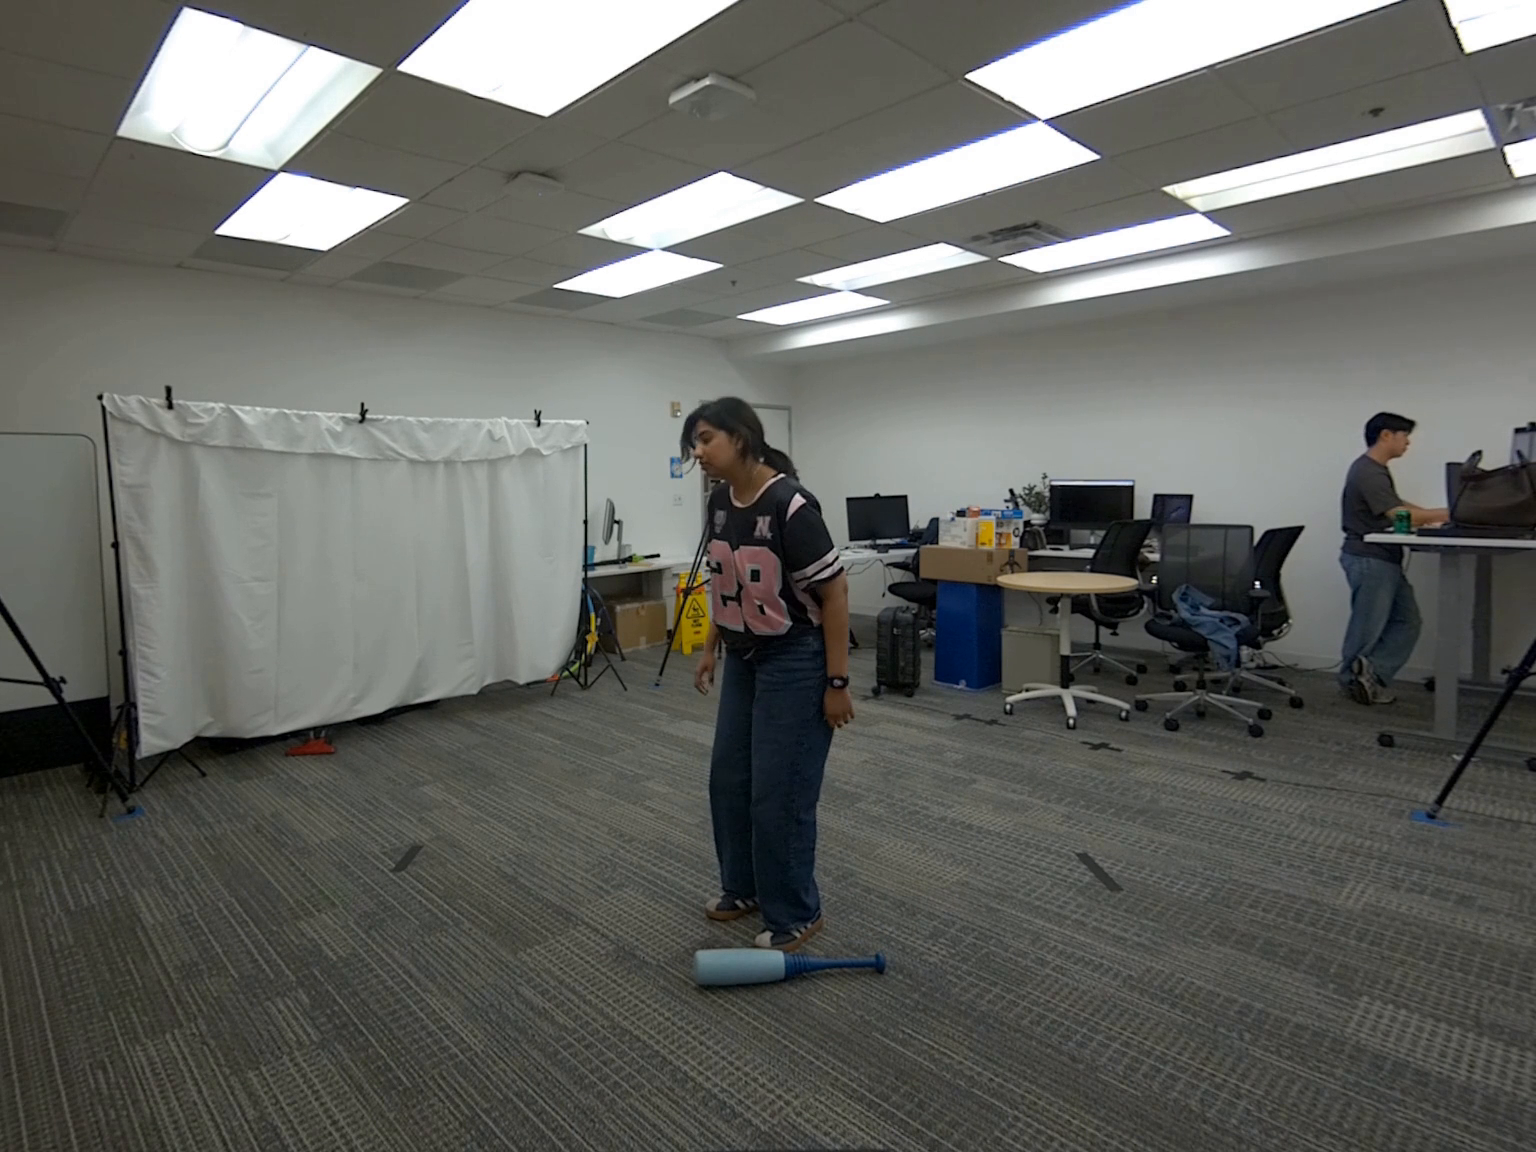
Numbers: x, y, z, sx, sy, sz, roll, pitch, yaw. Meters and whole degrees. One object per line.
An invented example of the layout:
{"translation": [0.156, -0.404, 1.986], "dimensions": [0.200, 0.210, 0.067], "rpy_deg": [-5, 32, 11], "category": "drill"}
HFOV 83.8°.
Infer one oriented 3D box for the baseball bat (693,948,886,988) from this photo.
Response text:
{"translation": [0.056, 1.091, 2.403], "dimensions": [0.540, 0.089, 0.090], "rpy_deg": [1, 4, -6], "category": "baseball bat"}
